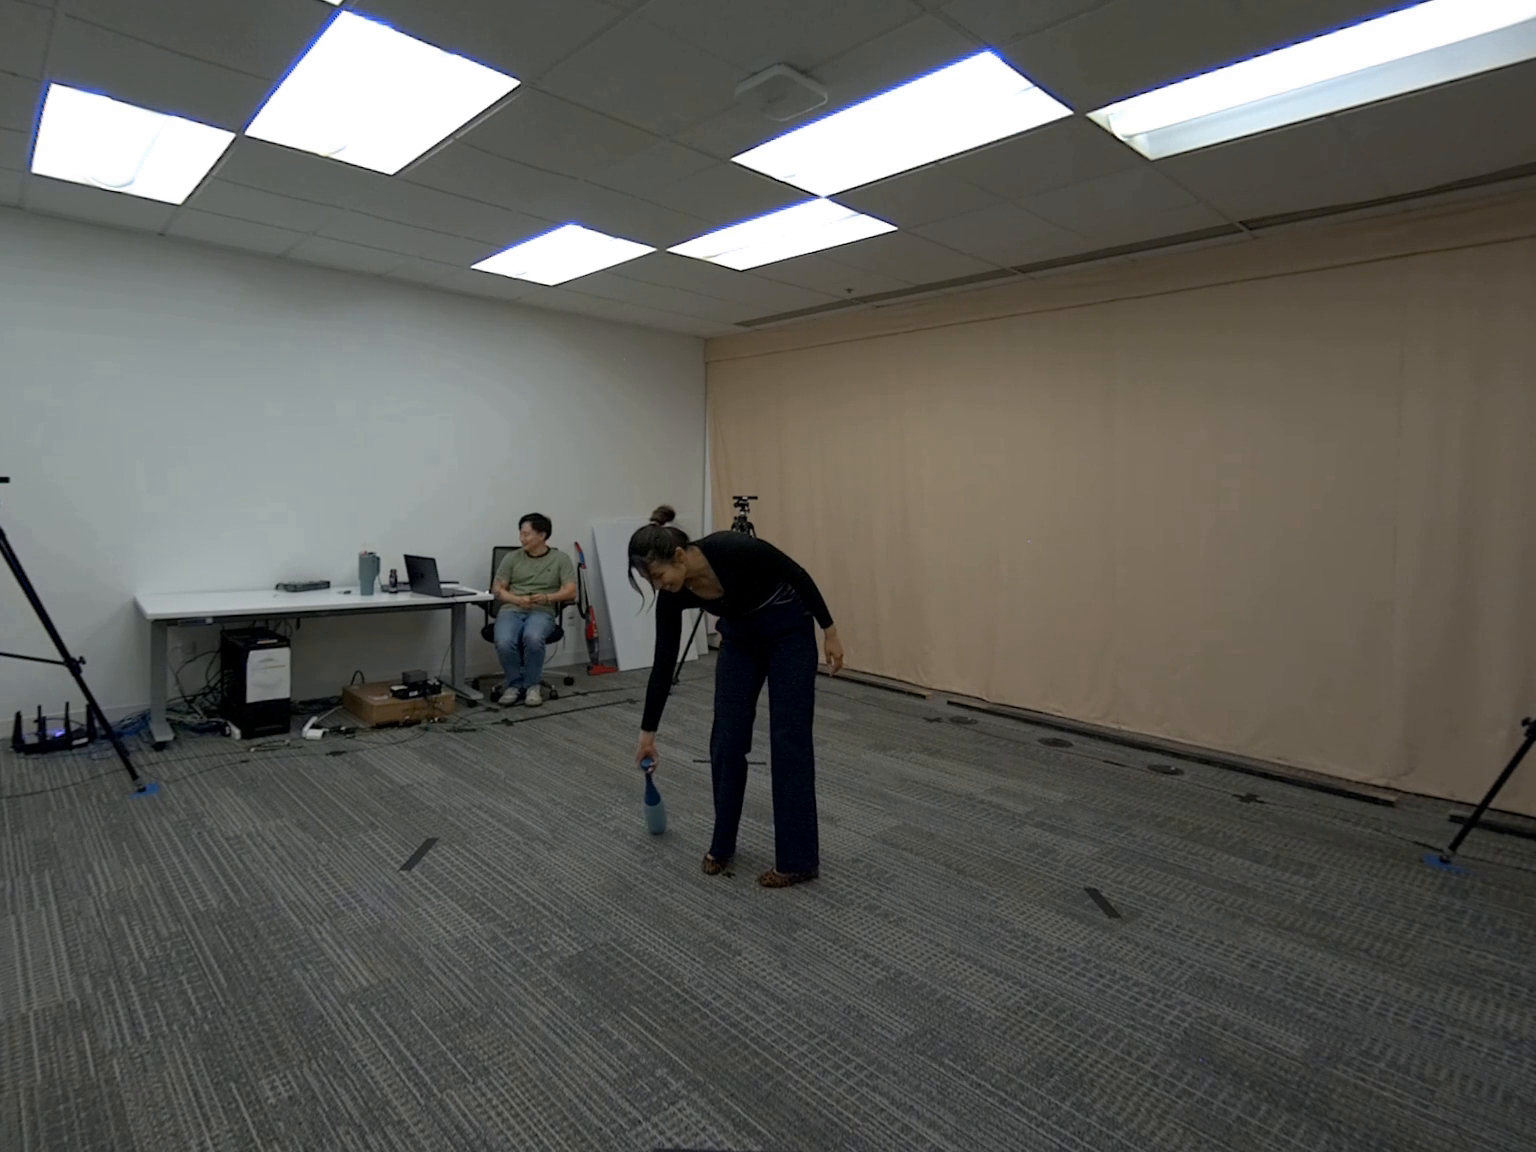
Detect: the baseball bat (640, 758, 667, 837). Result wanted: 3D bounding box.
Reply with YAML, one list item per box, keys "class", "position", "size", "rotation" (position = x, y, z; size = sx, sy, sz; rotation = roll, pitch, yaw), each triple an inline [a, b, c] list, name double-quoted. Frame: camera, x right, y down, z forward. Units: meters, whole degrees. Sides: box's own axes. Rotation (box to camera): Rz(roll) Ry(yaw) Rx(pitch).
- class: "baseball bat"
  position: [-0.462, 0.864, 3.301]
  size: [0.089, 0.091, 0.531]
  rotation: [-1, -41, 0]
